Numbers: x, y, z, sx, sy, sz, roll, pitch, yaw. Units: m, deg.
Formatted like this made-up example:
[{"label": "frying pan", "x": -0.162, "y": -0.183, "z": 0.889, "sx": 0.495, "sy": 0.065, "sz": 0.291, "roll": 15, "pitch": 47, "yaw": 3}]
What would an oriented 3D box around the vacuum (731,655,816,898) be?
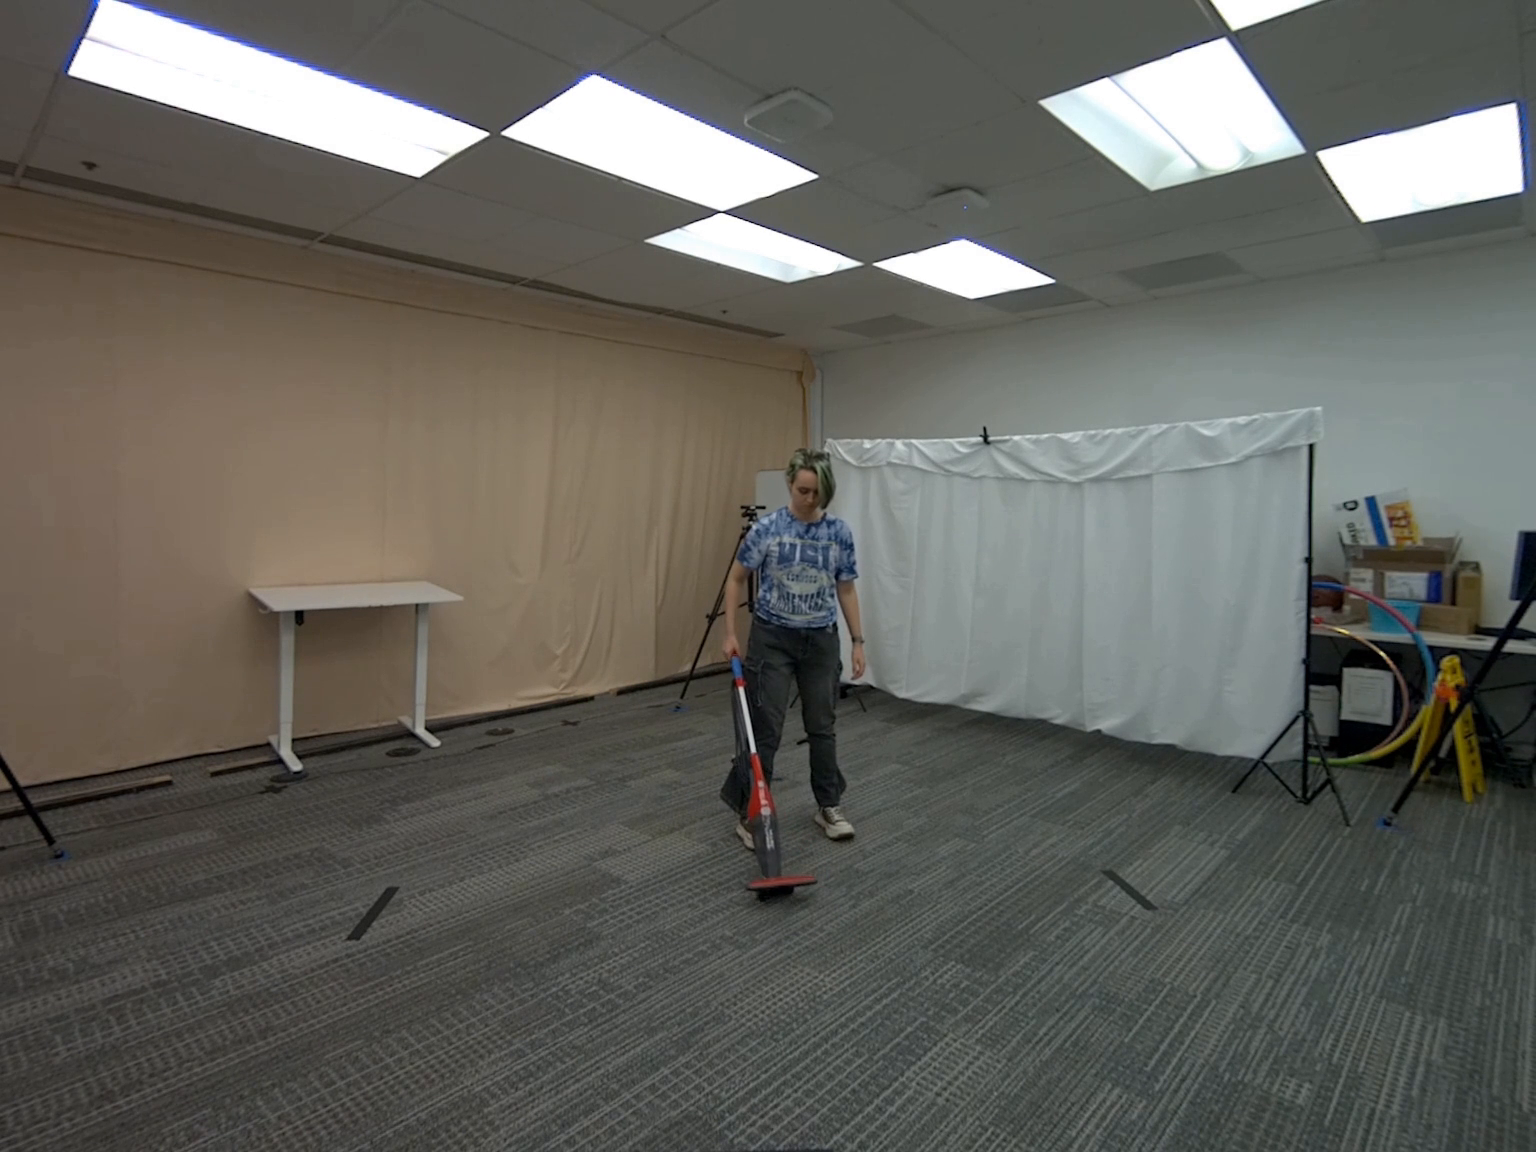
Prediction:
[{"label": "vacuum", "x": -0.060, "y": 0.711, "z": 3.298, "sx": 0.249, "sy": 1.076, "sz": 0.142, "roll": -2, "pitch": -42, "yaw": -15}]
